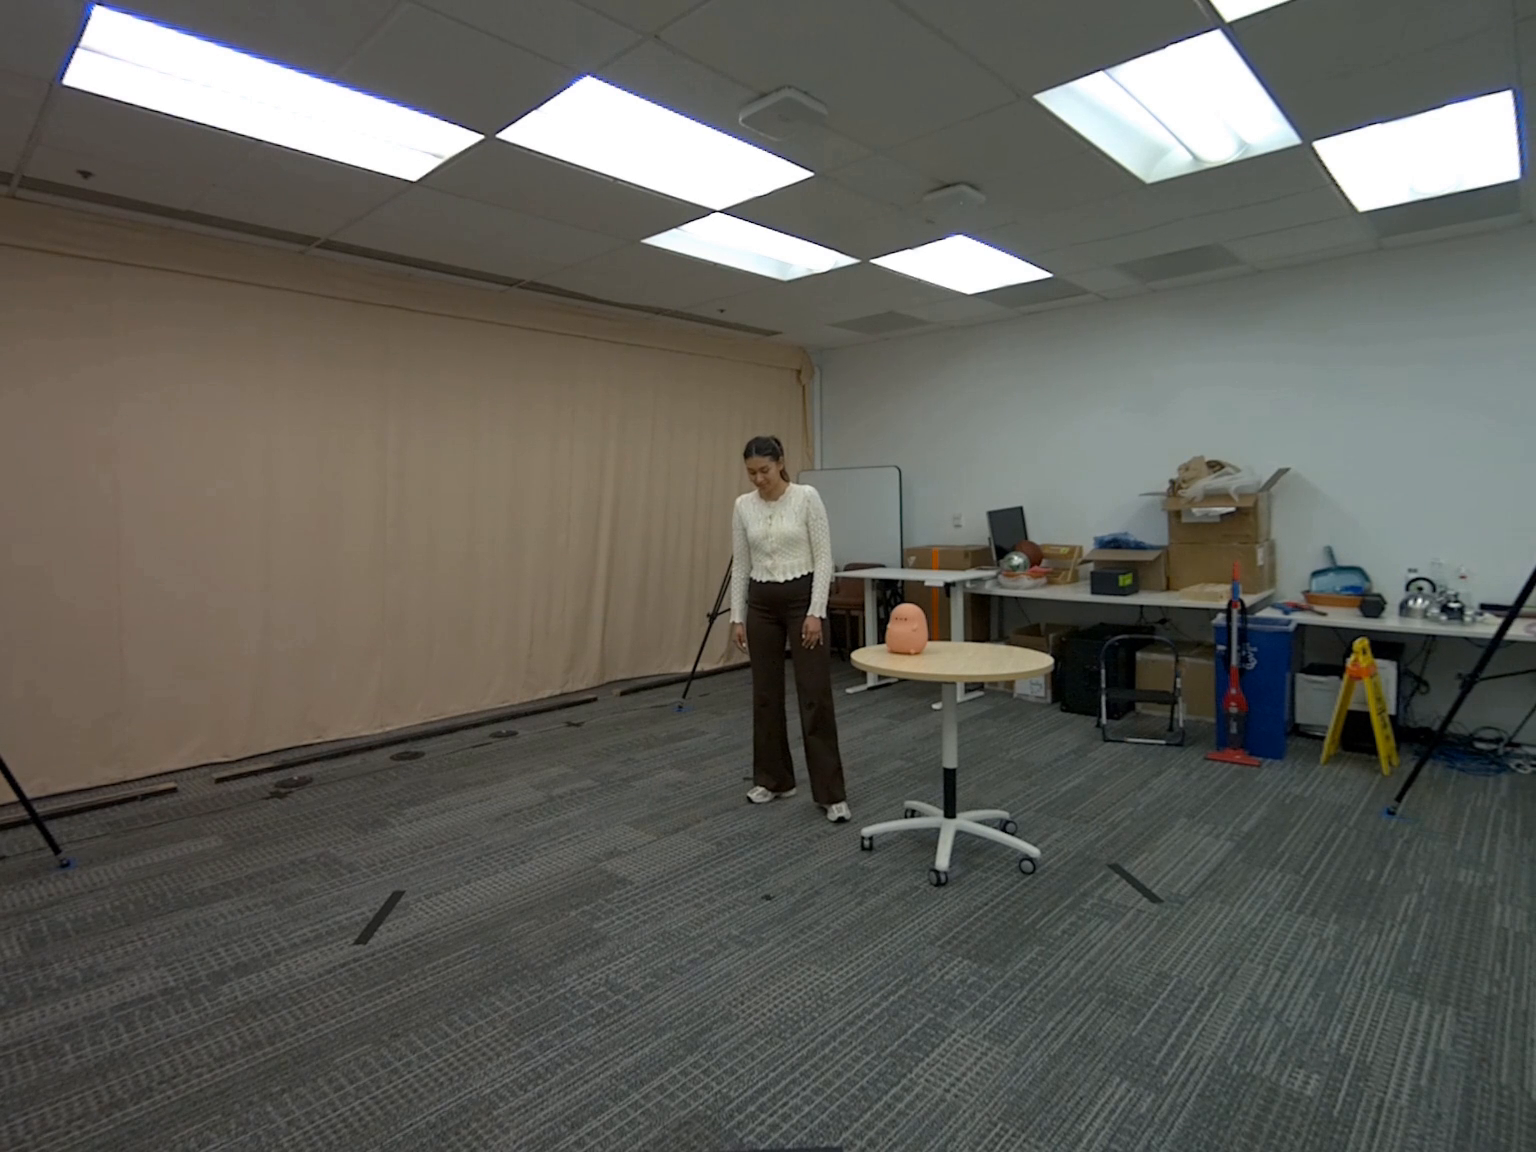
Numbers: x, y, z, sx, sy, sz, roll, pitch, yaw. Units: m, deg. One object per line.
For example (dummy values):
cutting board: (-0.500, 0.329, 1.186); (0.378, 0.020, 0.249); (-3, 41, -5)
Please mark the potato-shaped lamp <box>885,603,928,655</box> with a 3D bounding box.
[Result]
potato-shaped lamp: (0.570, 0.212, 3.421); (0.170, 0.198, 0.166); (-3, 0, 41)
